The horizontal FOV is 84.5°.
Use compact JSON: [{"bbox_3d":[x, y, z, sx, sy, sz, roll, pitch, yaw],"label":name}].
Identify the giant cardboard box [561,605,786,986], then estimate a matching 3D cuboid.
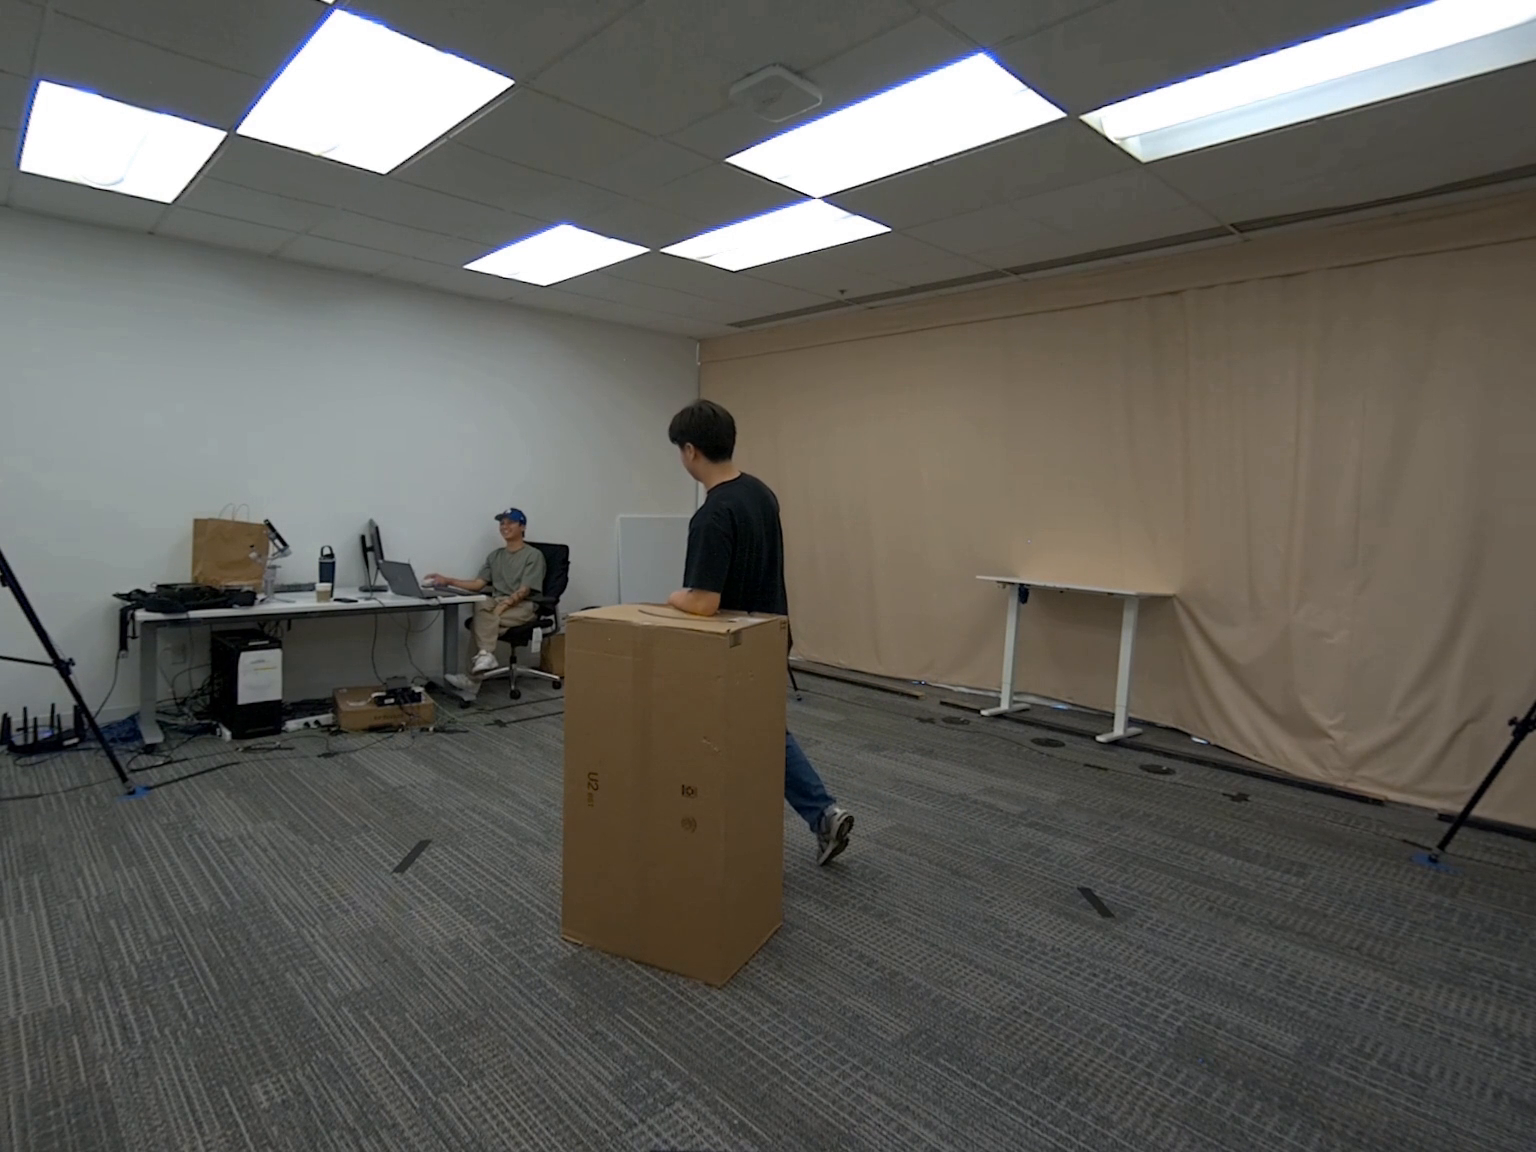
[{"bbox_3d":[-0.298,0.632,2.674,0.596,1.025,0.438,3,2,28],"label":"giant cardboard box"}]
